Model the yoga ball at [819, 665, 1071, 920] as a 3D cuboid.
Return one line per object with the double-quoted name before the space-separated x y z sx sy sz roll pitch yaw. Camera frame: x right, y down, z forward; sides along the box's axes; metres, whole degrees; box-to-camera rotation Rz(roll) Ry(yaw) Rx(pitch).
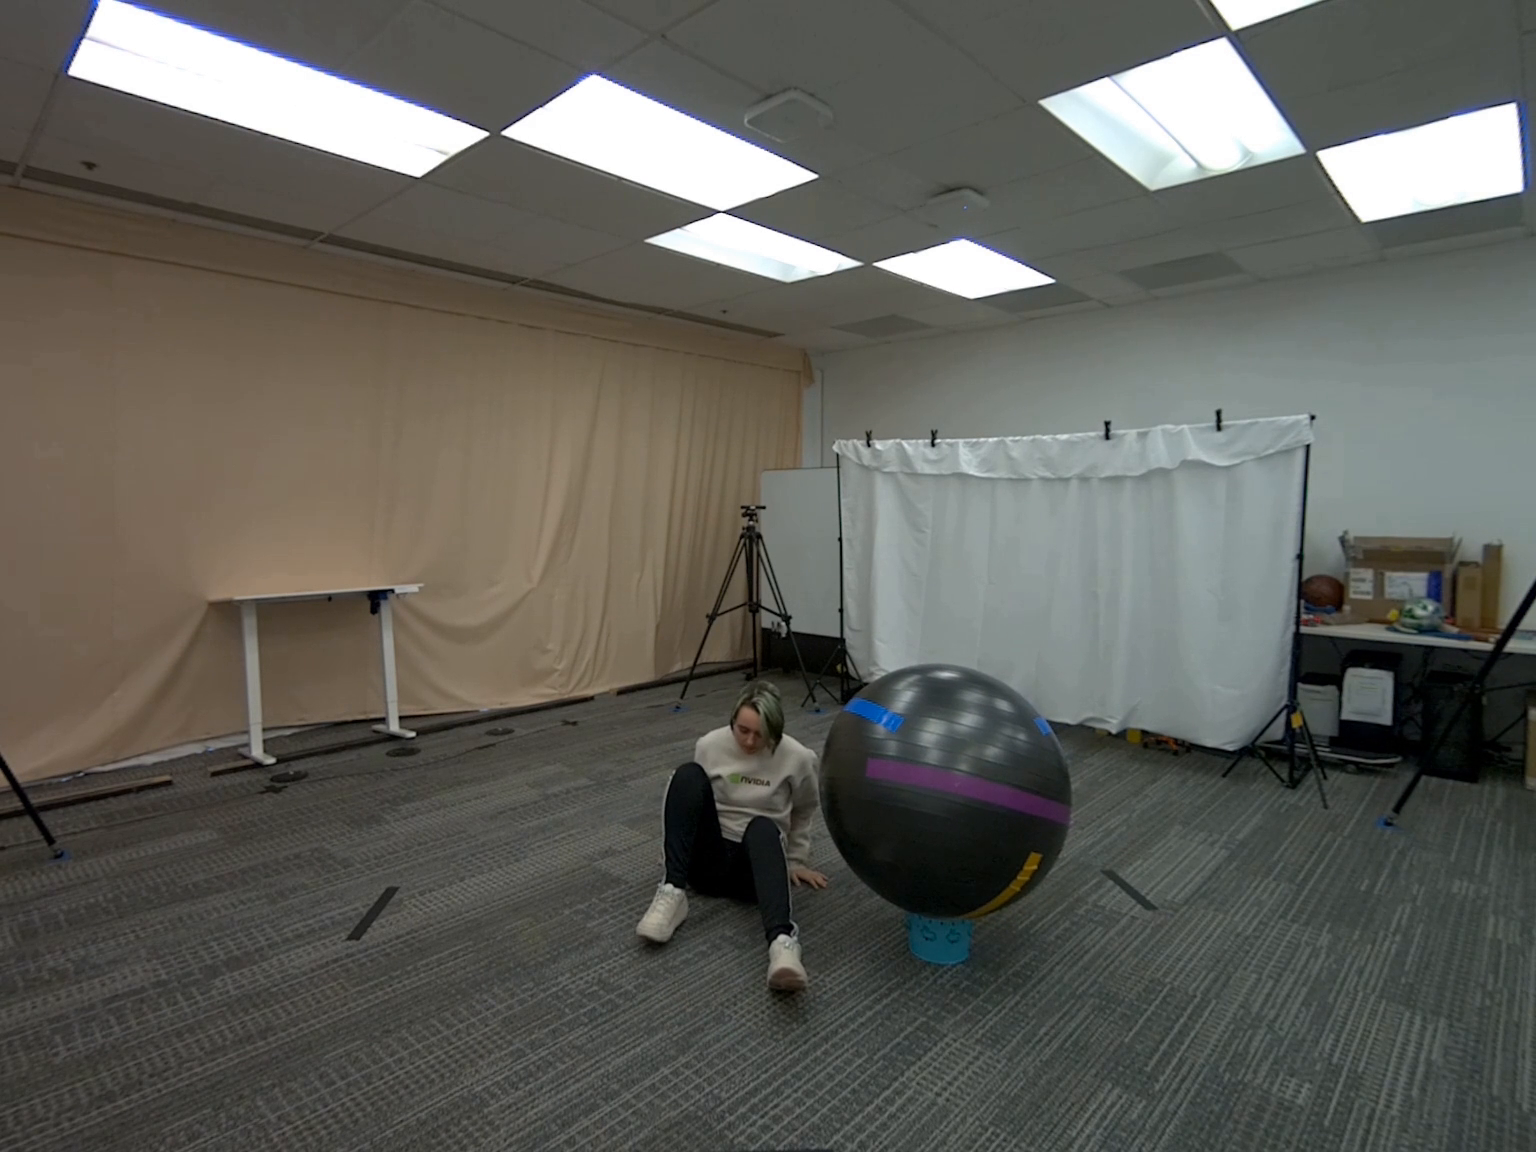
"yoga ball" 0.550 0.663 2.623 0.757 0.756 0.761 0 4 -2
